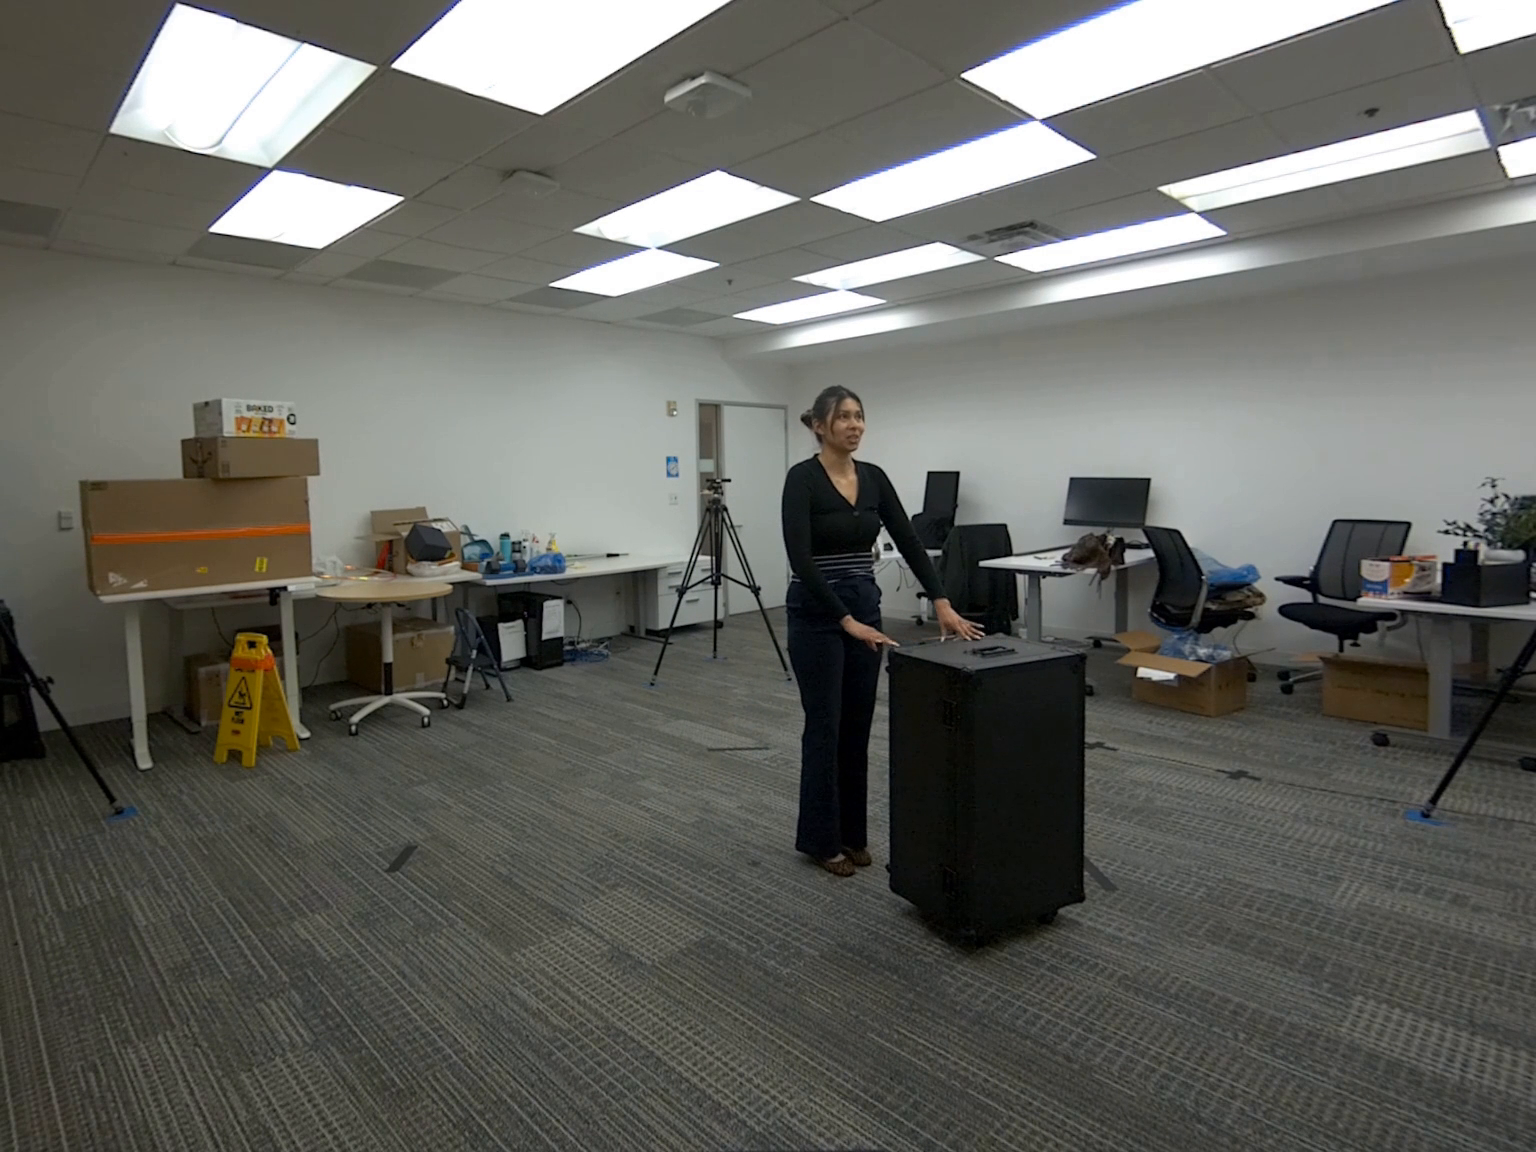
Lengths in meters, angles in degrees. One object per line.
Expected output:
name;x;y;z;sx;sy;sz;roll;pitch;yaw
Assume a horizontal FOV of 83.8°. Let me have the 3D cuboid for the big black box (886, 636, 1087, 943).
big black box;0.679;0.654;2.675;0.509;0.859;0.407;-3;4;-29
